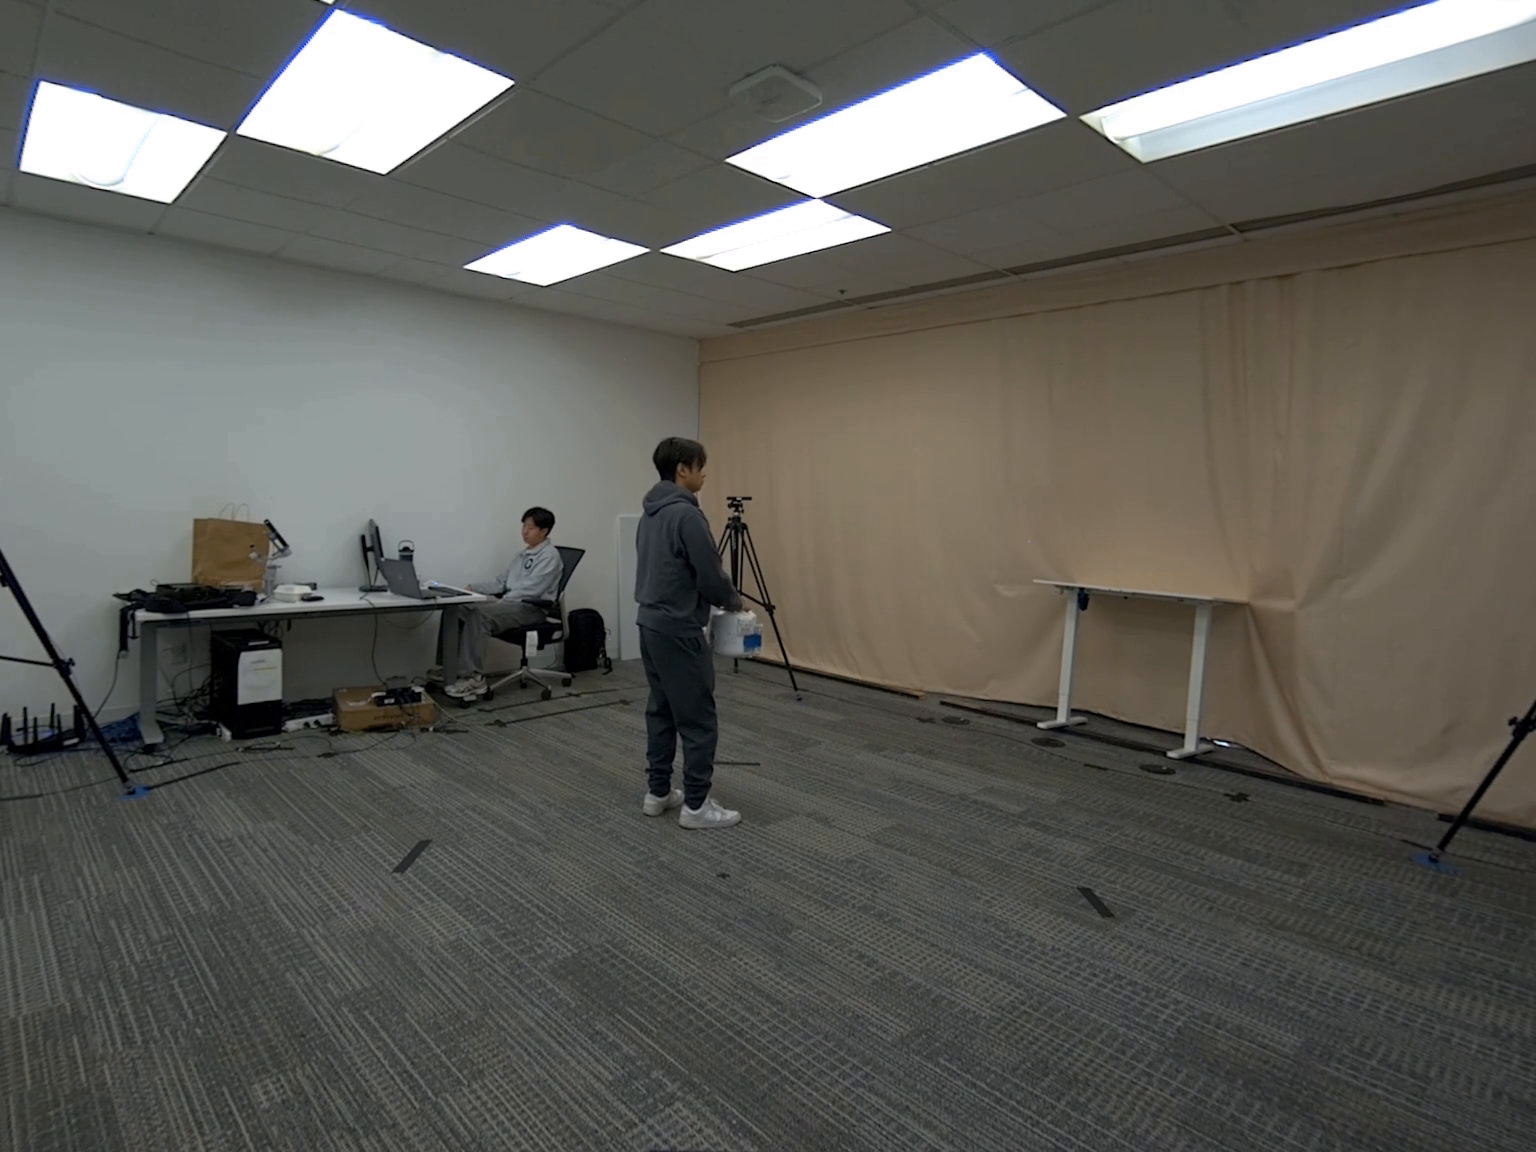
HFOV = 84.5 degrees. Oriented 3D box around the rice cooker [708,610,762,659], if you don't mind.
[{"bbox_3d":[-0.167,0.243,3.828,0.213,0.232,0.226,4,3,-30],"label":"rice cooker"}]
